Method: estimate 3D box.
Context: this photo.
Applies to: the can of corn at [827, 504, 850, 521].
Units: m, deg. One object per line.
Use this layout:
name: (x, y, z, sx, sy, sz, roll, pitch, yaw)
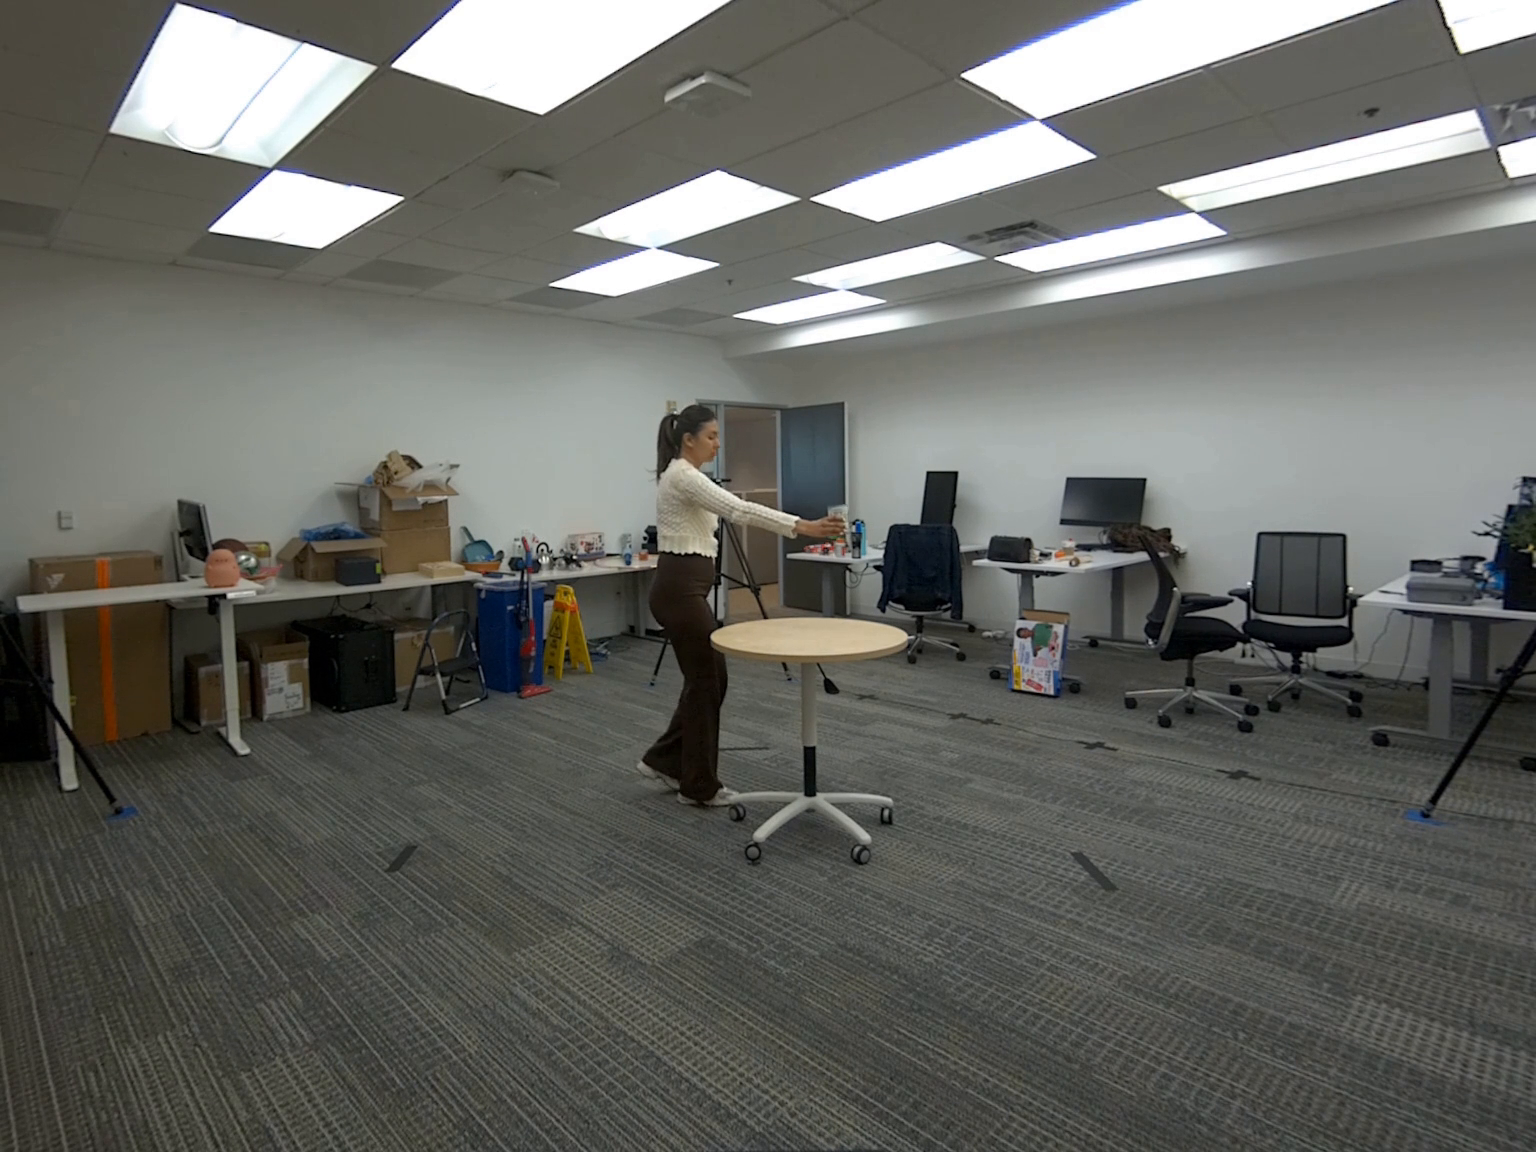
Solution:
can of corn: (0.268, -0.217, 3.255, 0.074, 0.111, 0.074, -4, 2, -2)
